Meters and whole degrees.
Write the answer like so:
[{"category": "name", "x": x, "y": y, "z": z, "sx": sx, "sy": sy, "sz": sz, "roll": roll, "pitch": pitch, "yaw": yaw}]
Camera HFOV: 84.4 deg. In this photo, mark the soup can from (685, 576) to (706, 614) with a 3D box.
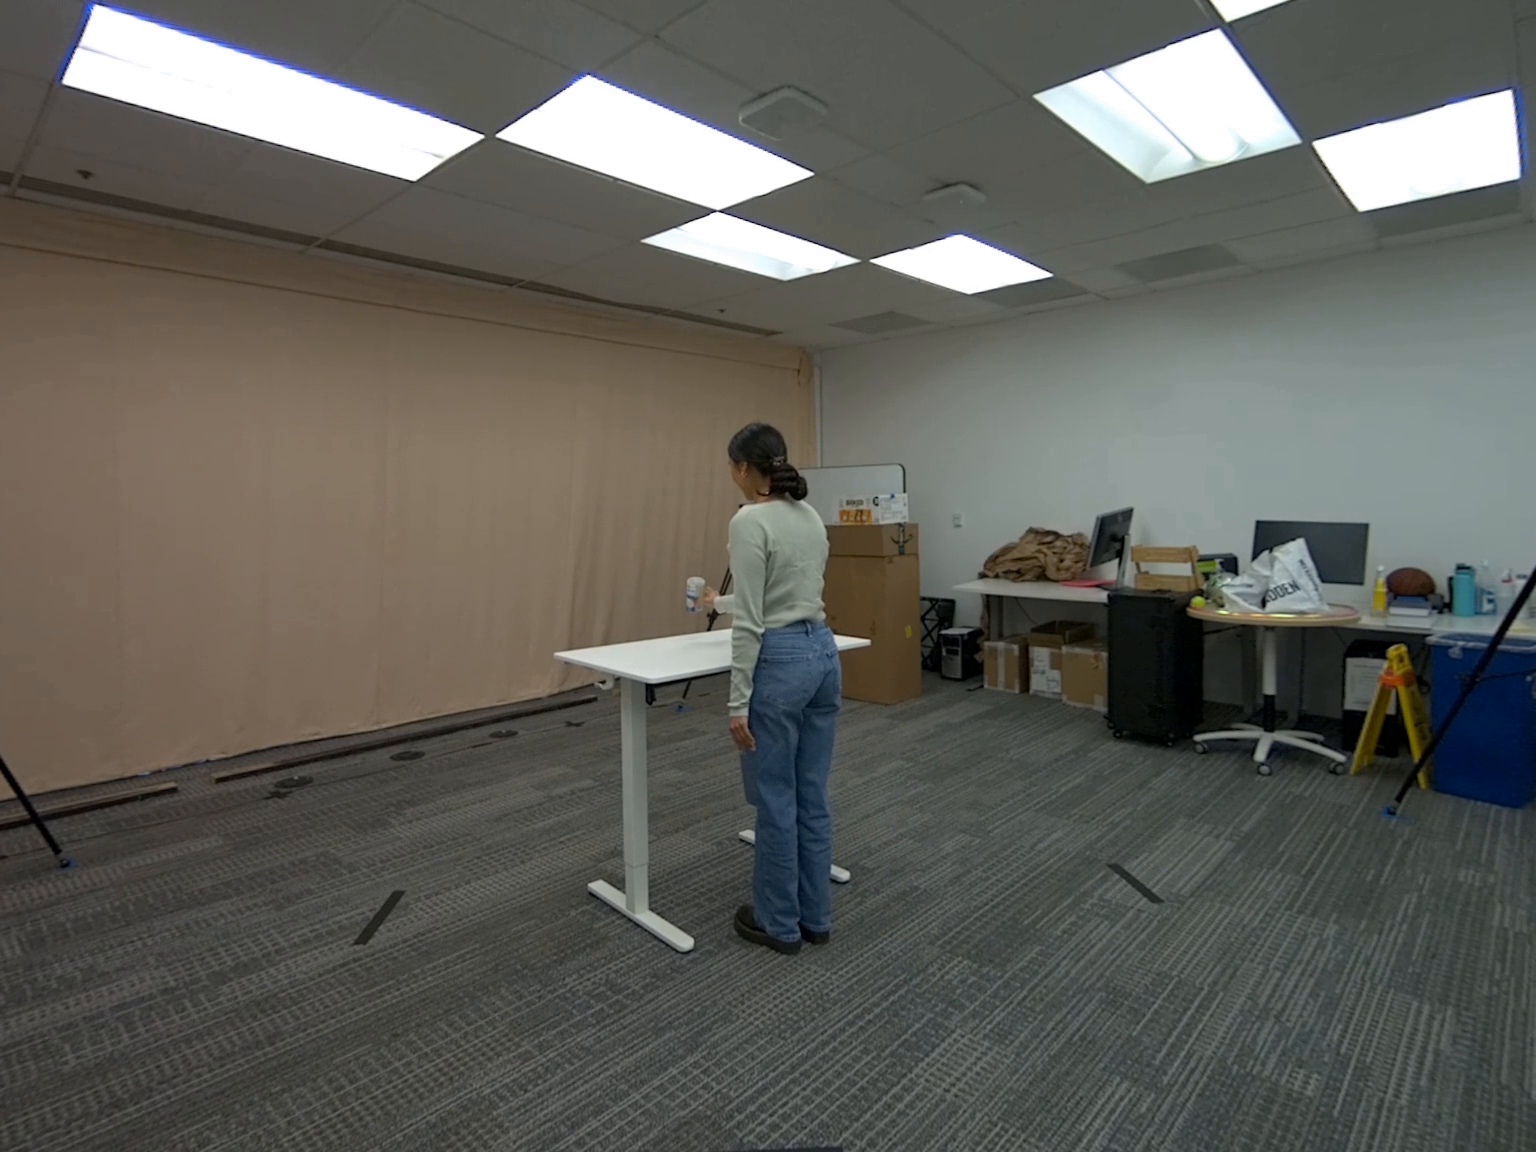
[{"category": "soup can", "x": -0.262, "y": 0.068, "z": 3.107, "sx": 0.067, "sy": 0.121, "sz": 0.067, "roll": 2, "pitch": 10, "yaw": -2}]
